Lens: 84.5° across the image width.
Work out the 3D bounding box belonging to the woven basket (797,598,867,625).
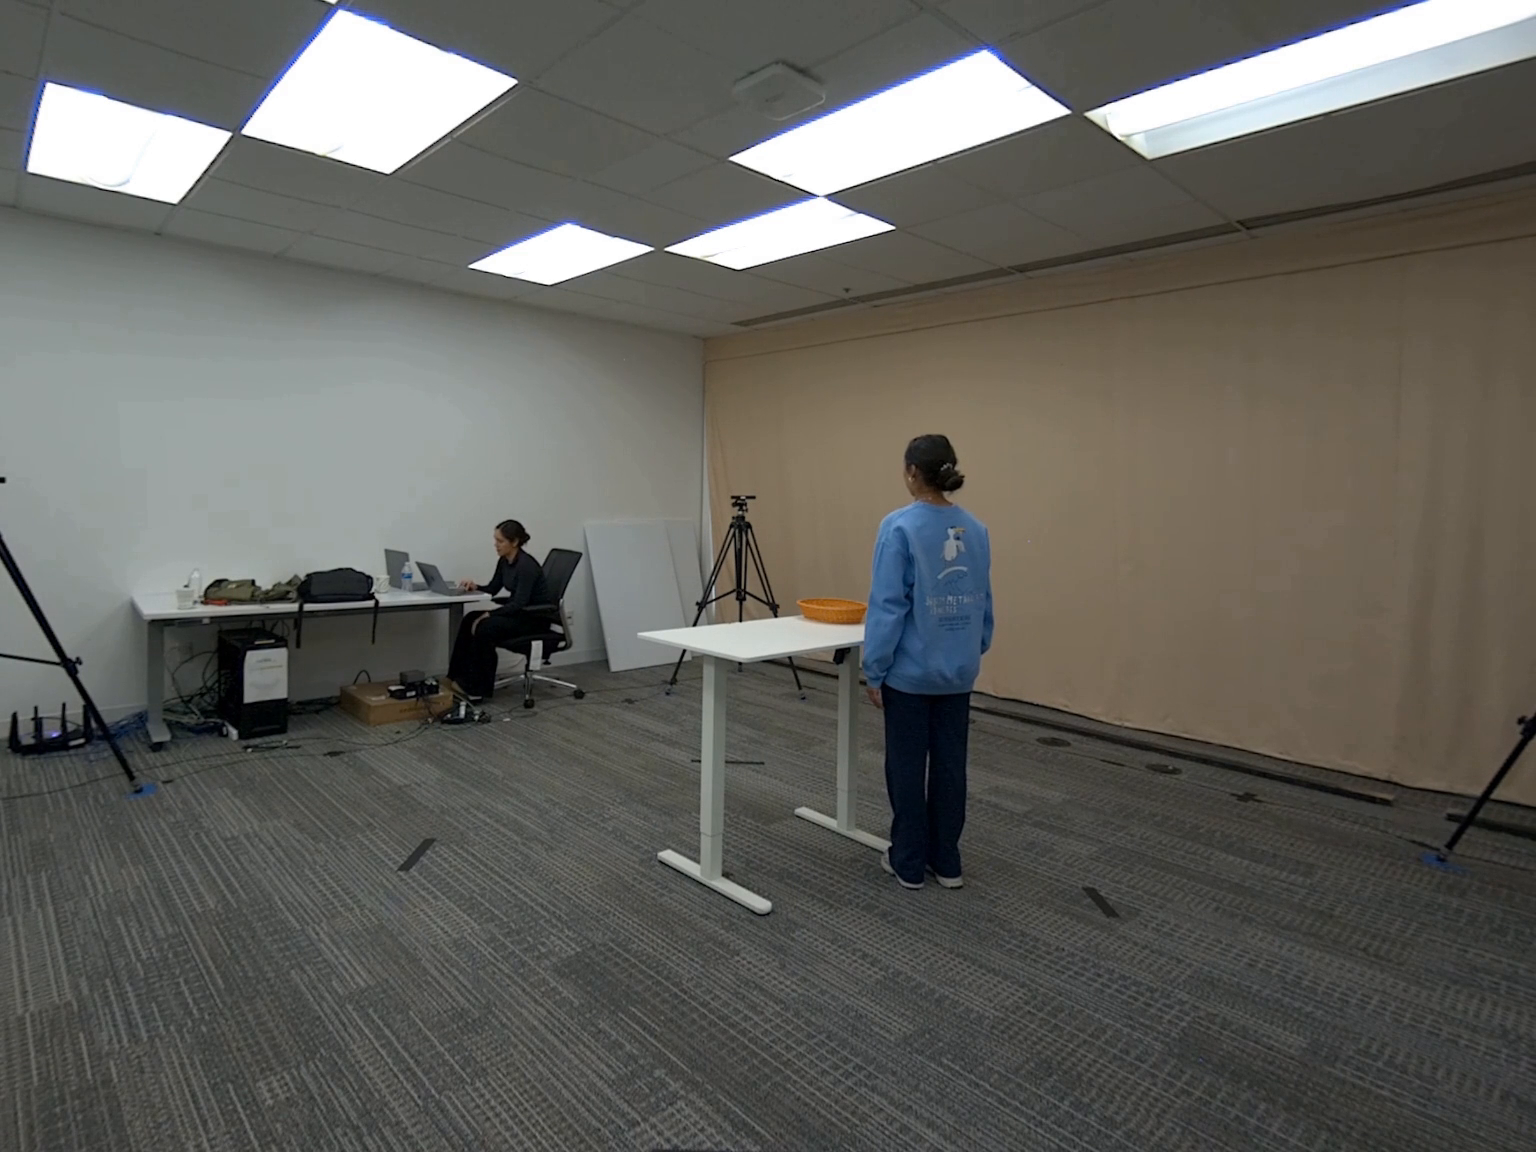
[{"bbox_3d":[0.268,0.158,3.581,0.247,0.073,0.358,-2,6,-31],"label":"woven basket"}]
